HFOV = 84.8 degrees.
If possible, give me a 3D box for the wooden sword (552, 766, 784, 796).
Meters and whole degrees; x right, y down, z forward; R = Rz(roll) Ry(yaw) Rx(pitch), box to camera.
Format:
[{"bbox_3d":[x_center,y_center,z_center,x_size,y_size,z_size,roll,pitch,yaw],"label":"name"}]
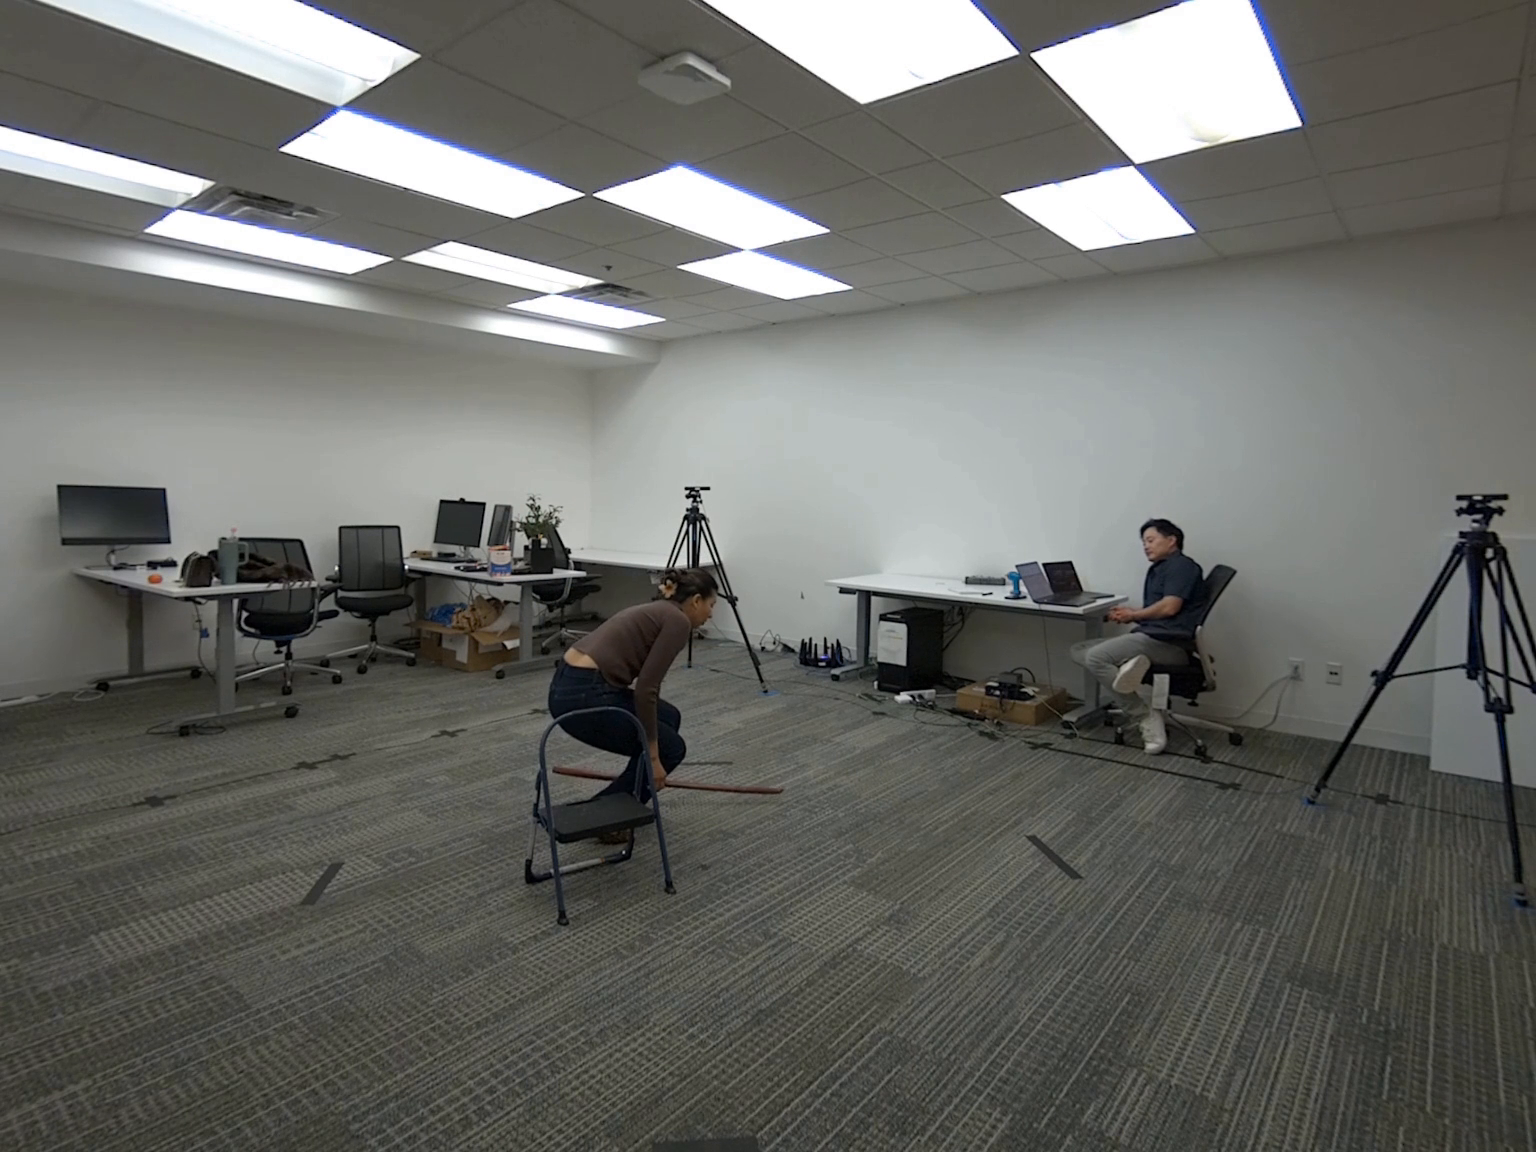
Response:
[{"bbox_3d":[-0.466,0.902,3.751,1.023,0.050,0.024,6,18,-1],"label":"wooden sword"}]
